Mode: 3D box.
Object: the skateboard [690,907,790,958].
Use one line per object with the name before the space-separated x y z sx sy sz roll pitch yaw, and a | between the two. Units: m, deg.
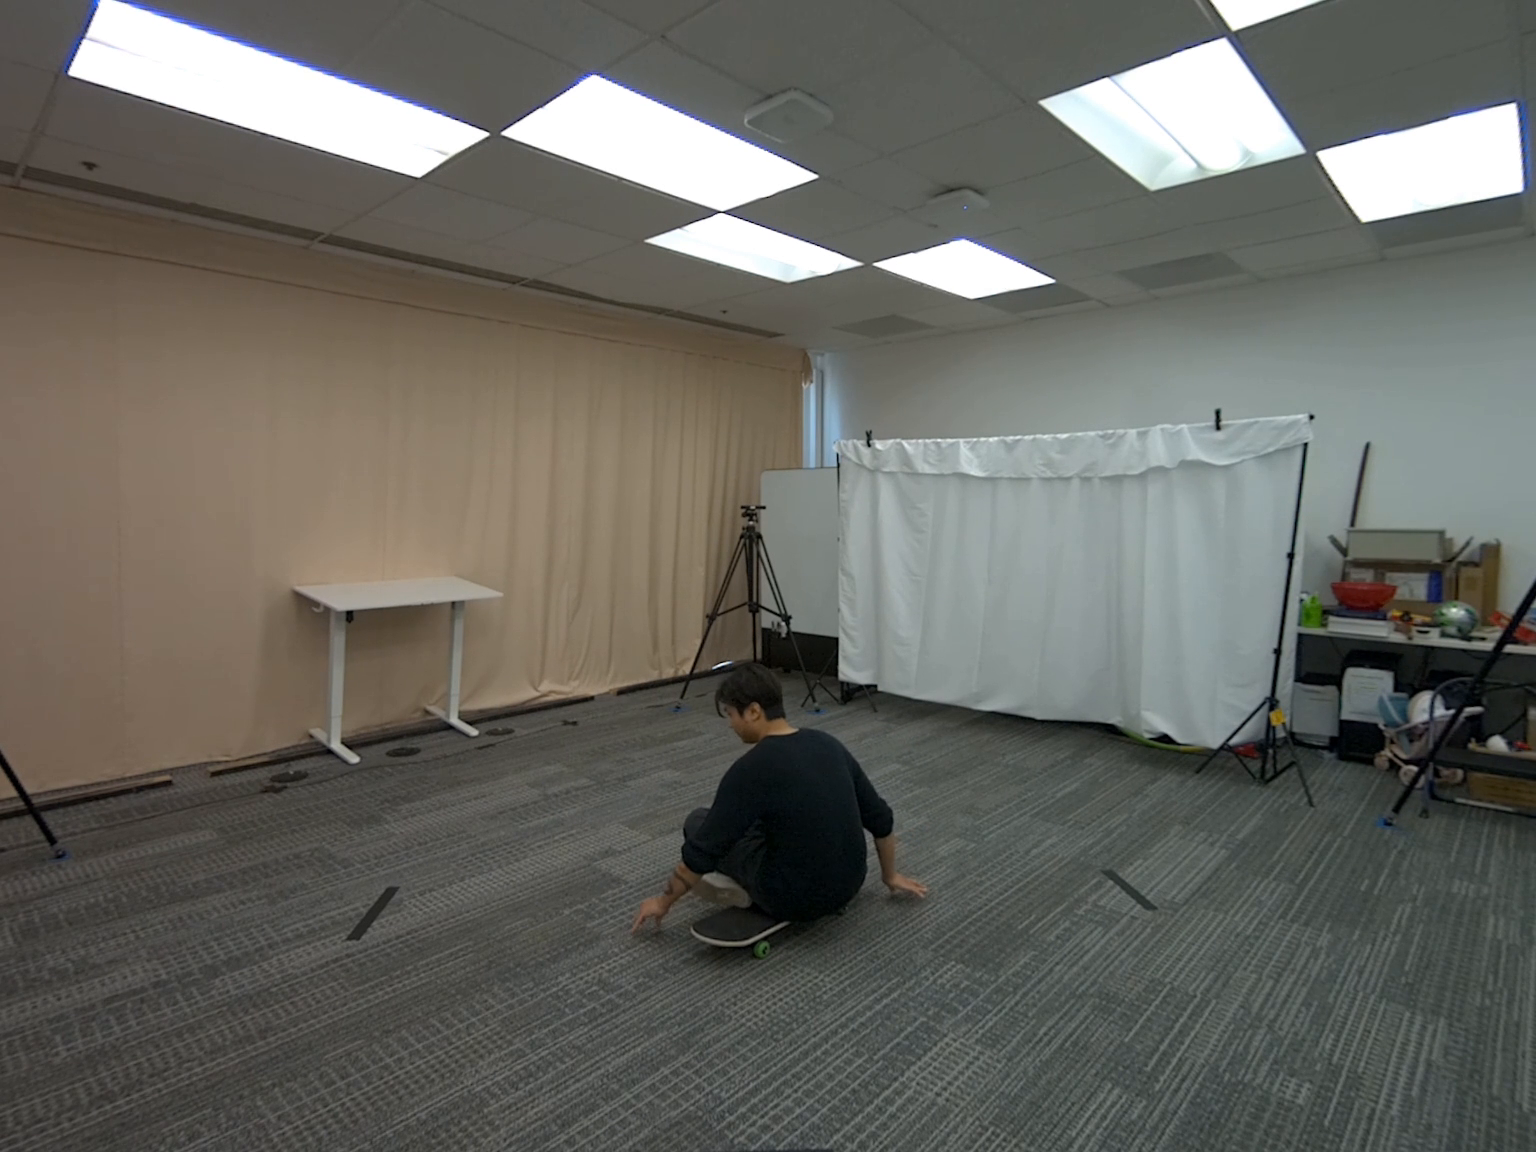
skateboard | 0.064 1.123 2.780 0.200 0.110 0.761 2 4 43
